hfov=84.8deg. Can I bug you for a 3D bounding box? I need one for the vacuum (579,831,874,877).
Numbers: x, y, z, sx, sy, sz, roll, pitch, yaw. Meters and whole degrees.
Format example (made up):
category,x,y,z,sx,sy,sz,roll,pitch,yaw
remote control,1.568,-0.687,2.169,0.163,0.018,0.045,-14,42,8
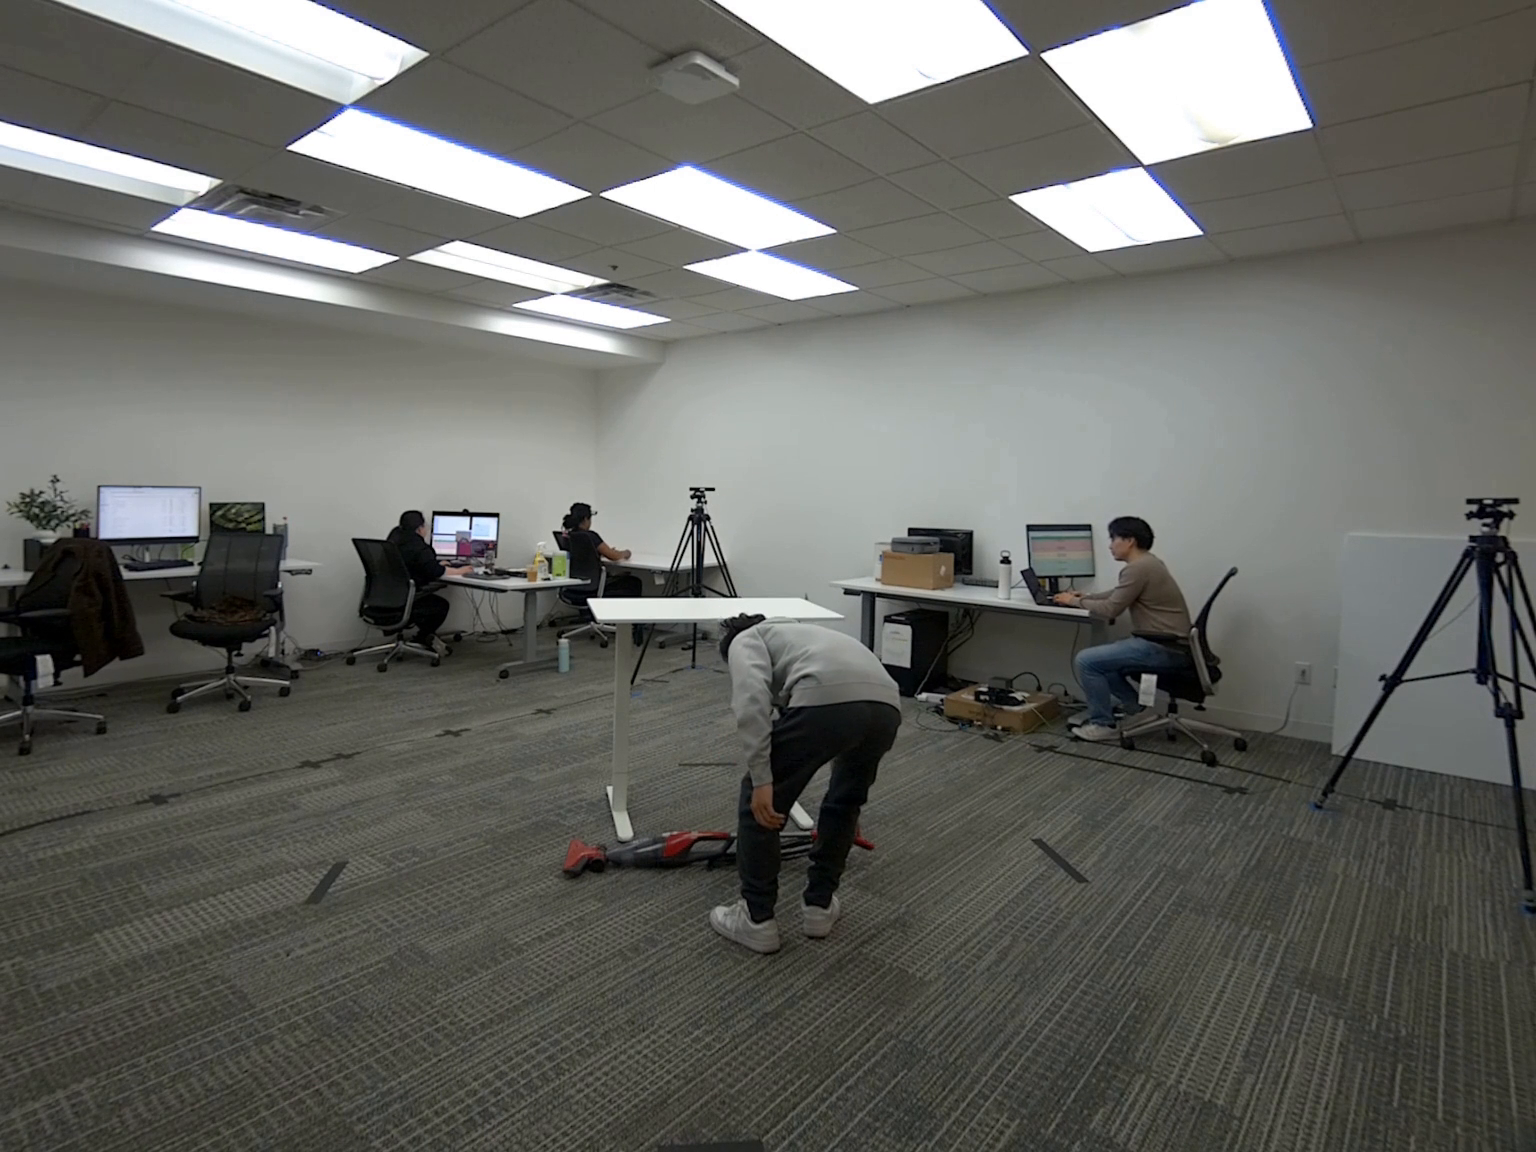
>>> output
category,x,y,z,sx,sy,sz,roll,pitch,yaw
vacuum,-0.131,0.995,3.140,1.046,0.142,0.256,-2,12,-3
